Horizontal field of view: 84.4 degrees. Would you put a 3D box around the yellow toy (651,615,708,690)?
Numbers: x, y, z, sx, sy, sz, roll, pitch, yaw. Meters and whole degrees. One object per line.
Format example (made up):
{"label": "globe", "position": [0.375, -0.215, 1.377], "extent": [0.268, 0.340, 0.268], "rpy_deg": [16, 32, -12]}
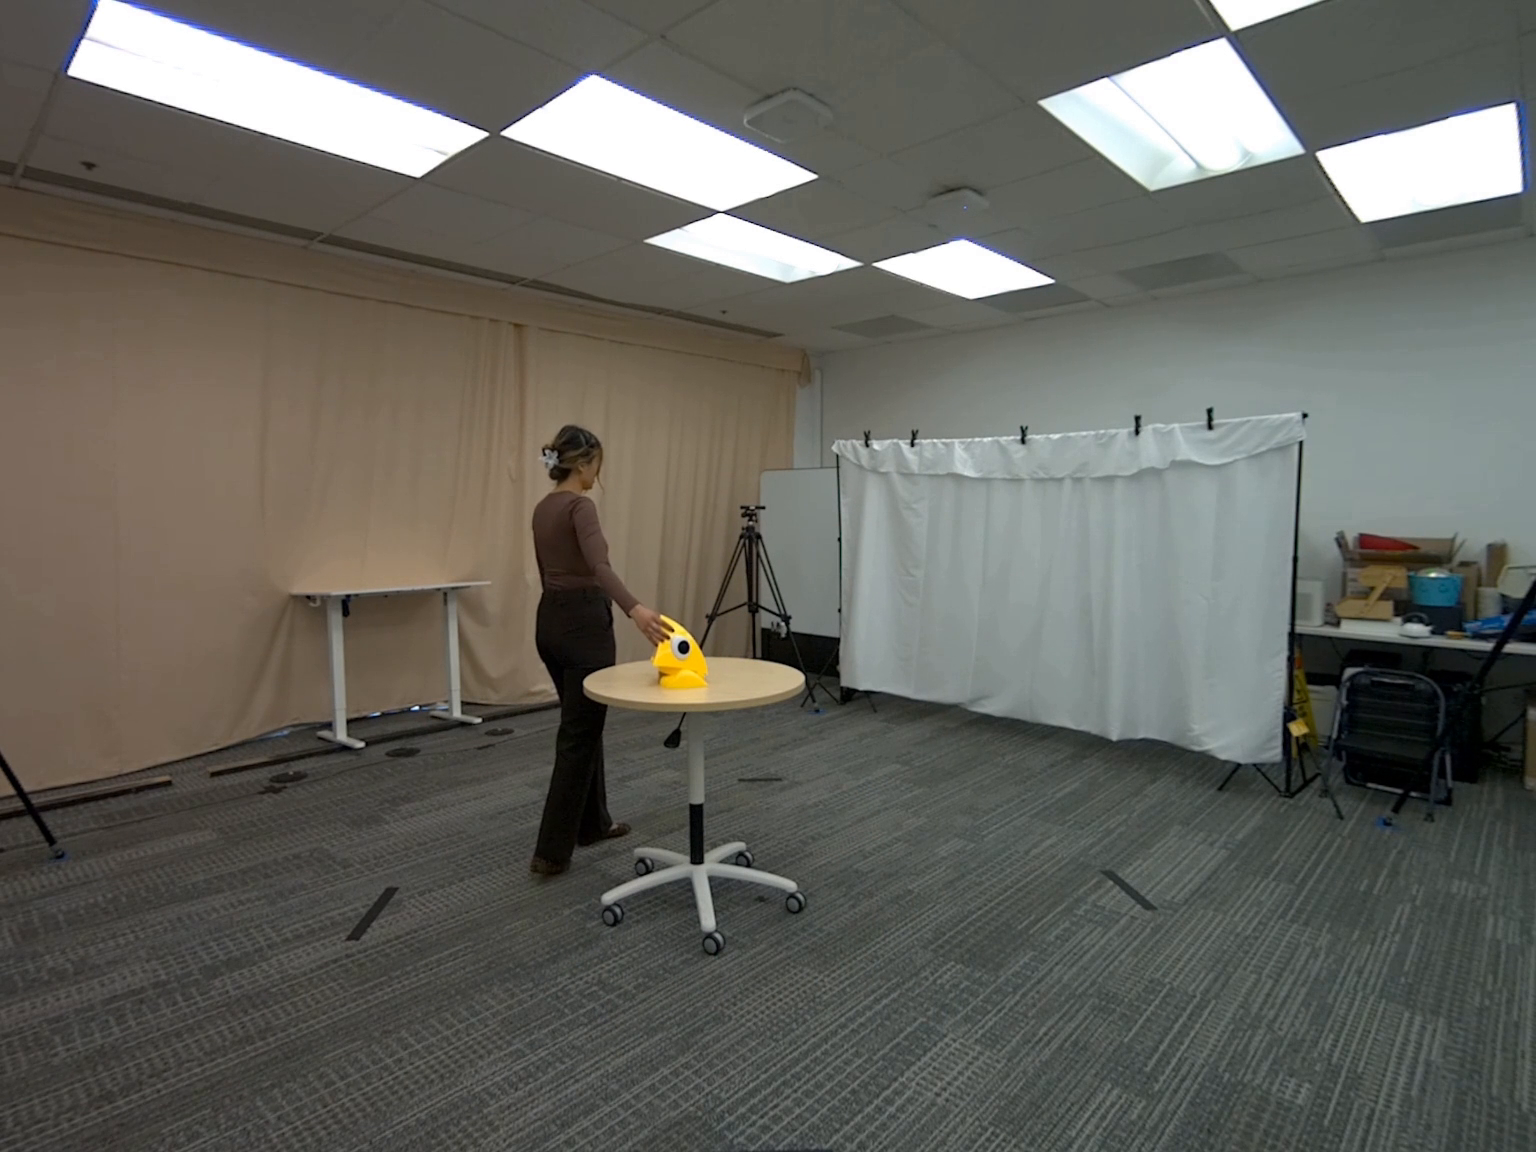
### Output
{"label": "yellow toy", "position": [-0.296, 0.246, 2.848], "extent": [0.192, 0.230, 0.206], "rpy_deg": [-2, 4, -6]}
